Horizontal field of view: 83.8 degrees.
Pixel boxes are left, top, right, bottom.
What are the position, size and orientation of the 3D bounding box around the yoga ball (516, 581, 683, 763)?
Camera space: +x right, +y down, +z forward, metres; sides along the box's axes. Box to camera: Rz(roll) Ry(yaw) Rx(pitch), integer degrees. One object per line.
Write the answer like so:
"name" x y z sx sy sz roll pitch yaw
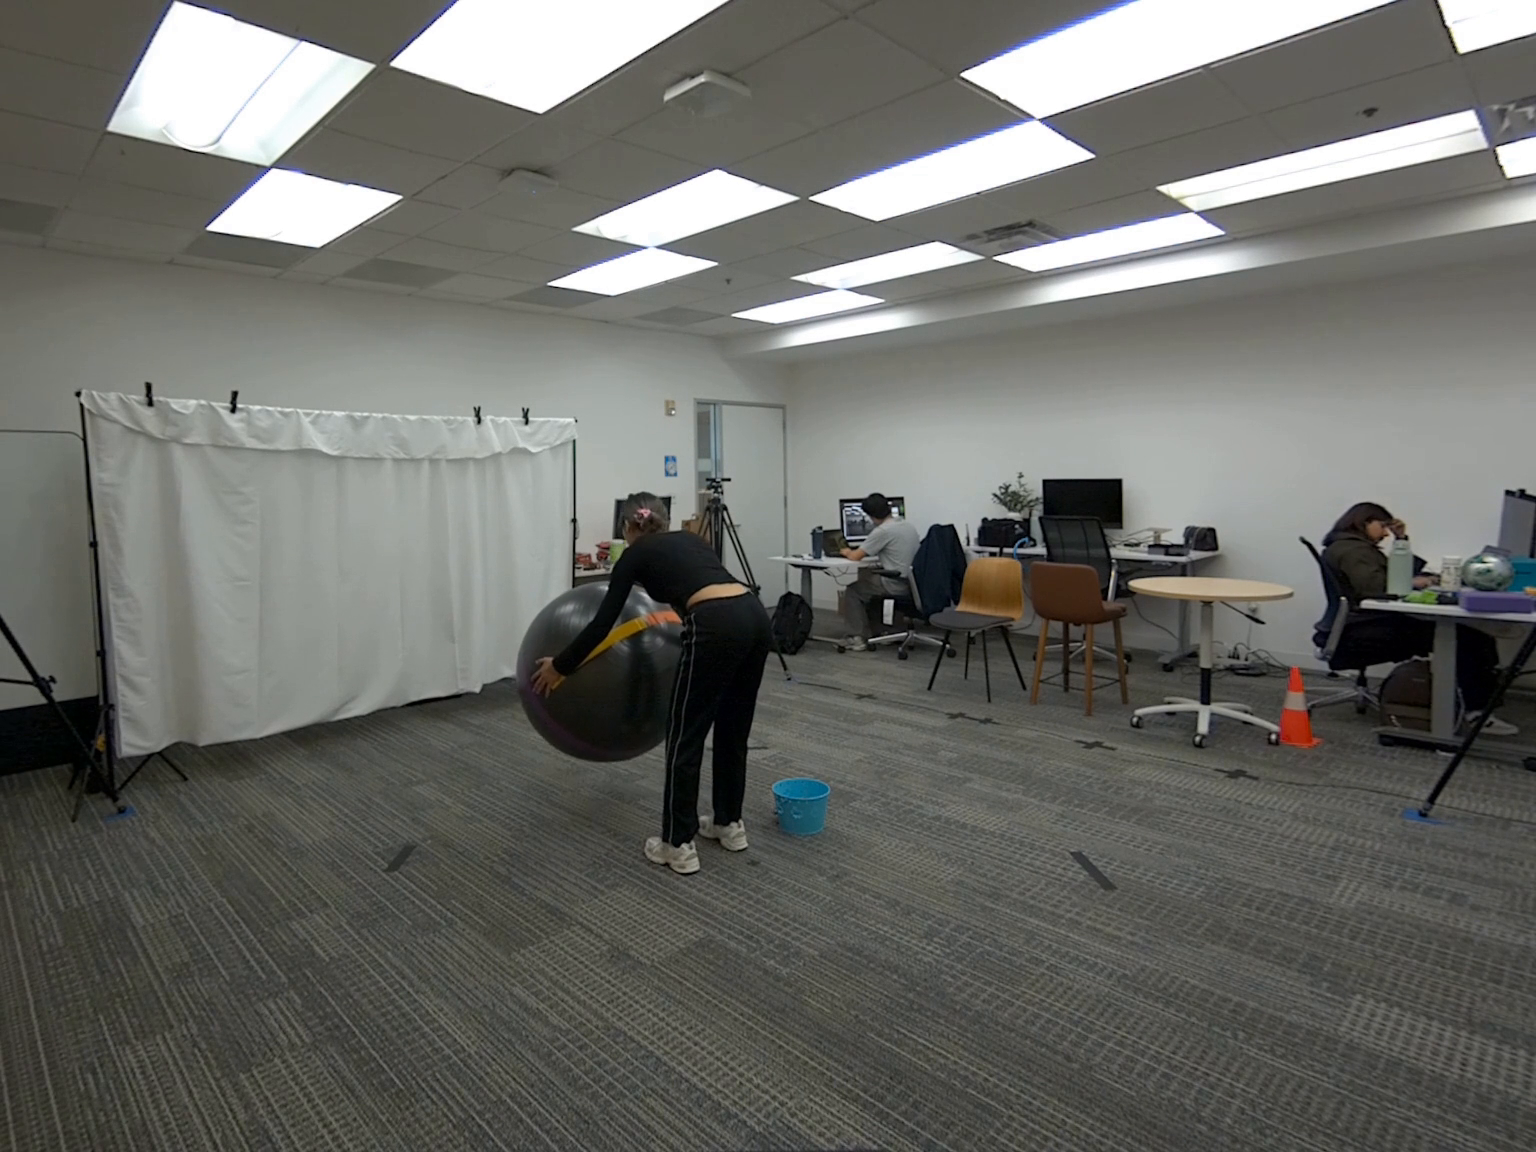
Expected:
"yoga ball" -0.692 0.401 3.646 0.757 0.755 0.762 -1 5 -2
